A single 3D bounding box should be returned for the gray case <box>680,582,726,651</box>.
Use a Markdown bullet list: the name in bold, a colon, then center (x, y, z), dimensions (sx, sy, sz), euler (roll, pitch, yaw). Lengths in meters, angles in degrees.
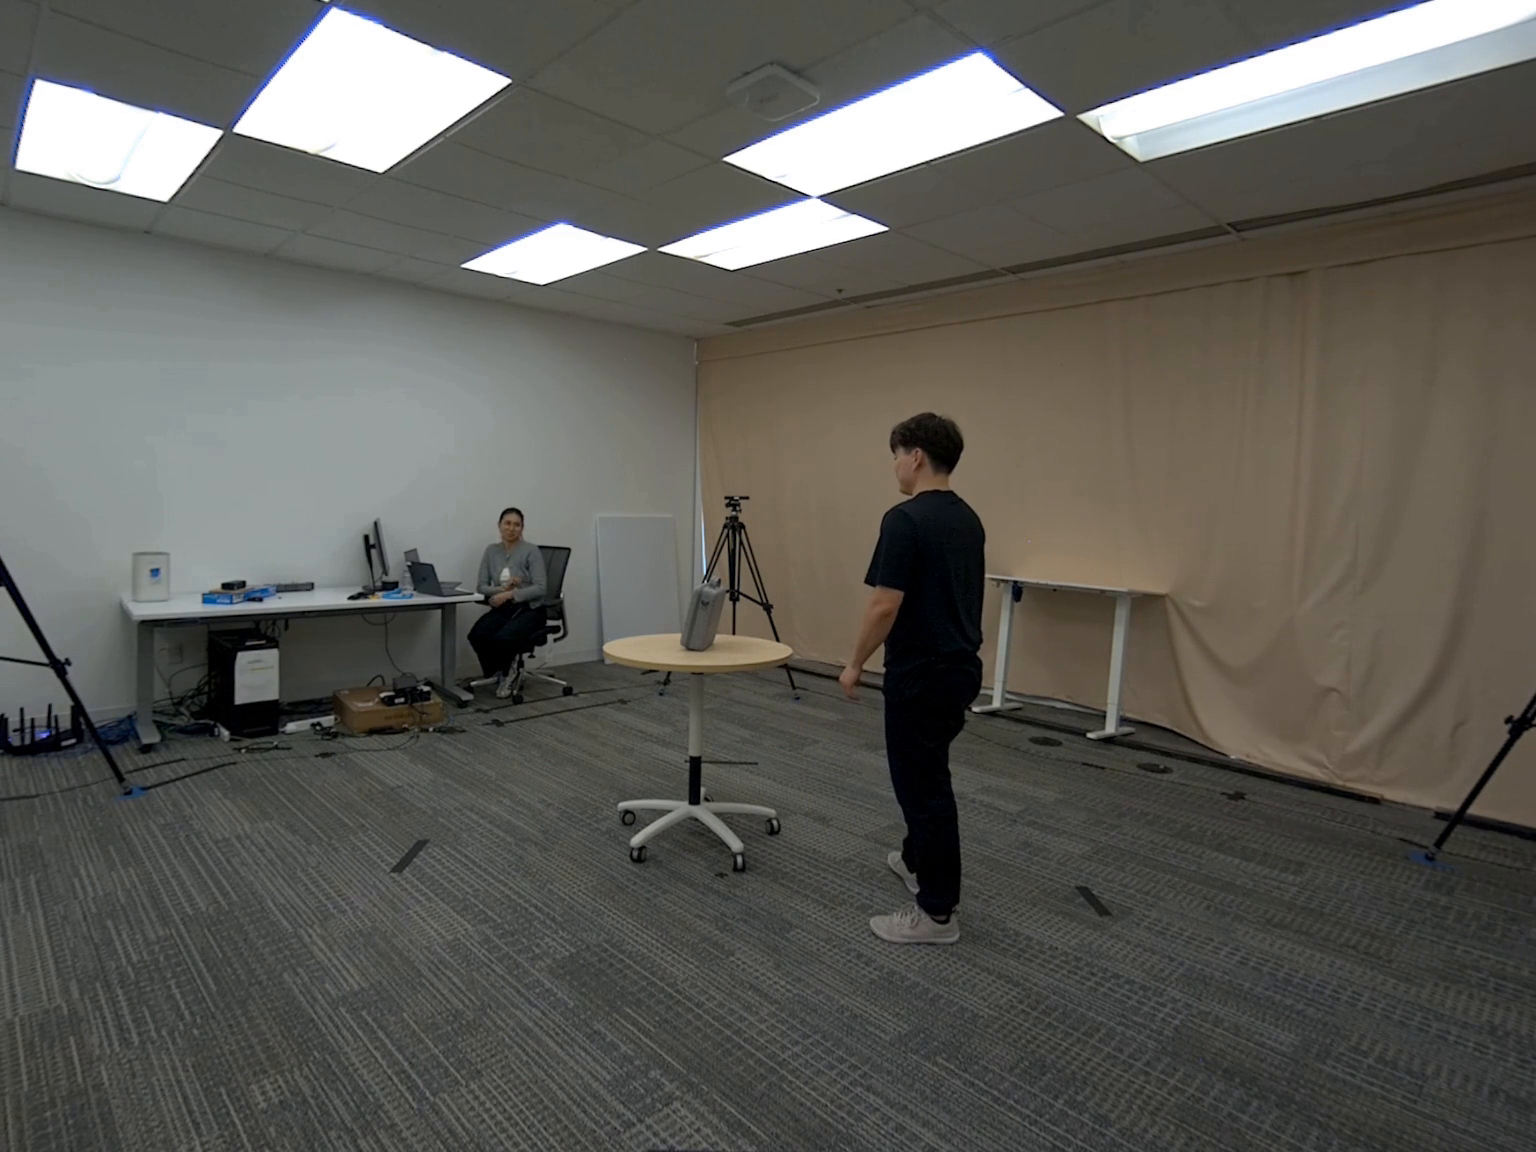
- **gray case**: center (-0.267, 0.156, 3.425), dimensions (0.105, 0.259, 0.257), euler (12, 7, 4)
